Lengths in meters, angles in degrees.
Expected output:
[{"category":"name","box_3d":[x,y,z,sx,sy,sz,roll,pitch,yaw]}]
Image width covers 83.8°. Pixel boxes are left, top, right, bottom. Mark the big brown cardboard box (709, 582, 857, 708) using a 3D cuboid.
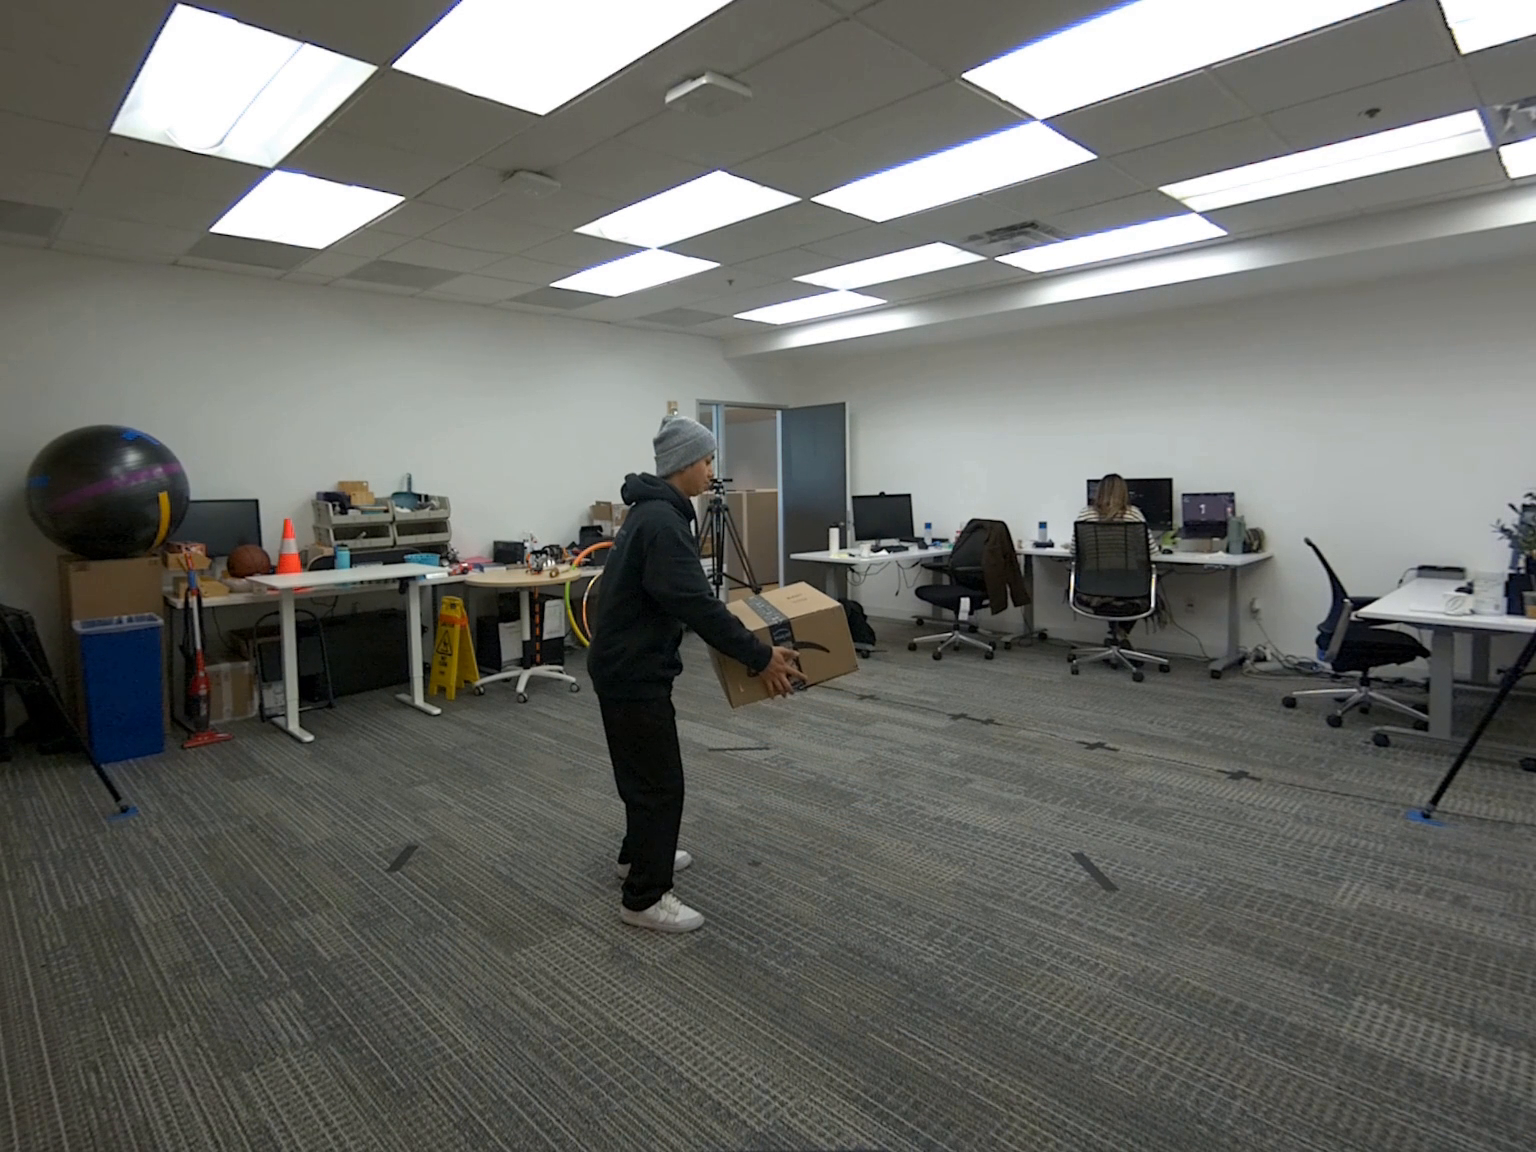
[{"category":"big brown cardboard box","box_3d":[0.006,0.208,2.904,0.417,0.231,0.595,-13,9,-4]}]
